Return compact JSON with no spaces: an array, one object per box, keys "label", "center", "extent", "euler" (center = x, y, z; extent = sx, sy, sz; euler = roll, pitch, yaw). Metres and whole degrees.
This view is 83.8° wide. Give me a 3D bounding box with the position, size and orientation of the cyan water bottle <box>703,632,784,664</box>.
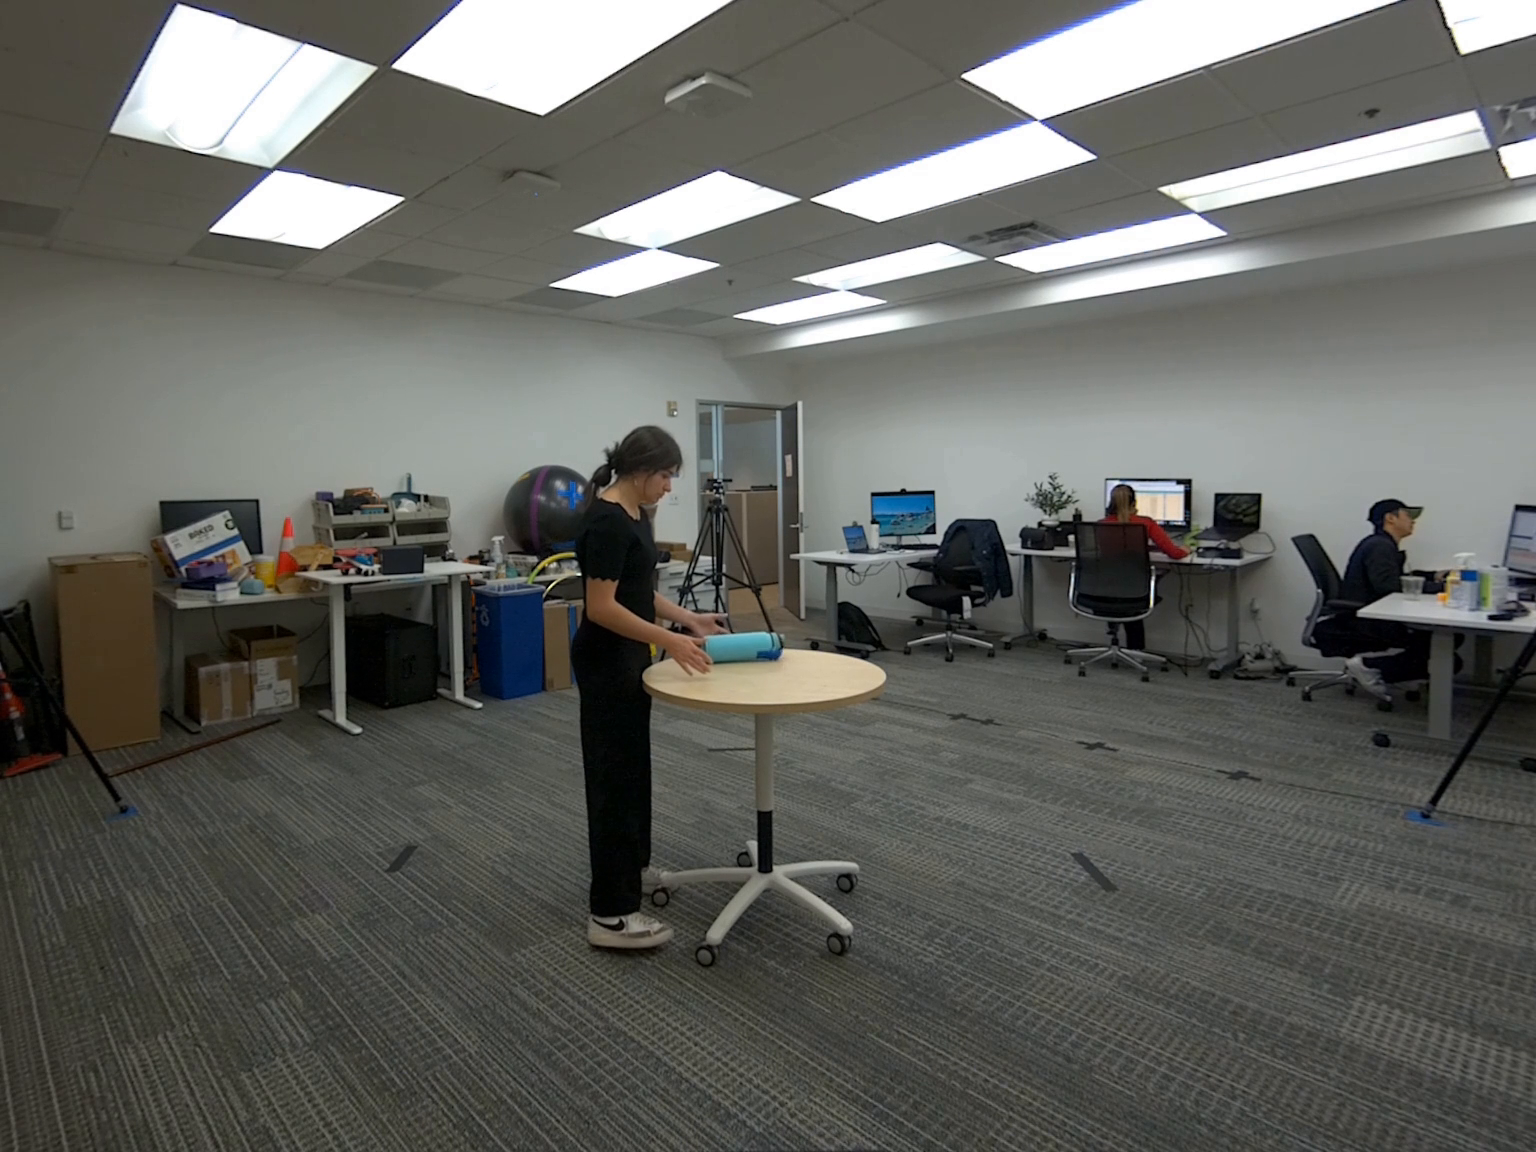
[{"label":"cyan water bottle","center":[-0.078,0.238,2.875],"extent":[0.280,0.092,0.094],"euler":[-2,5,-13]}]
